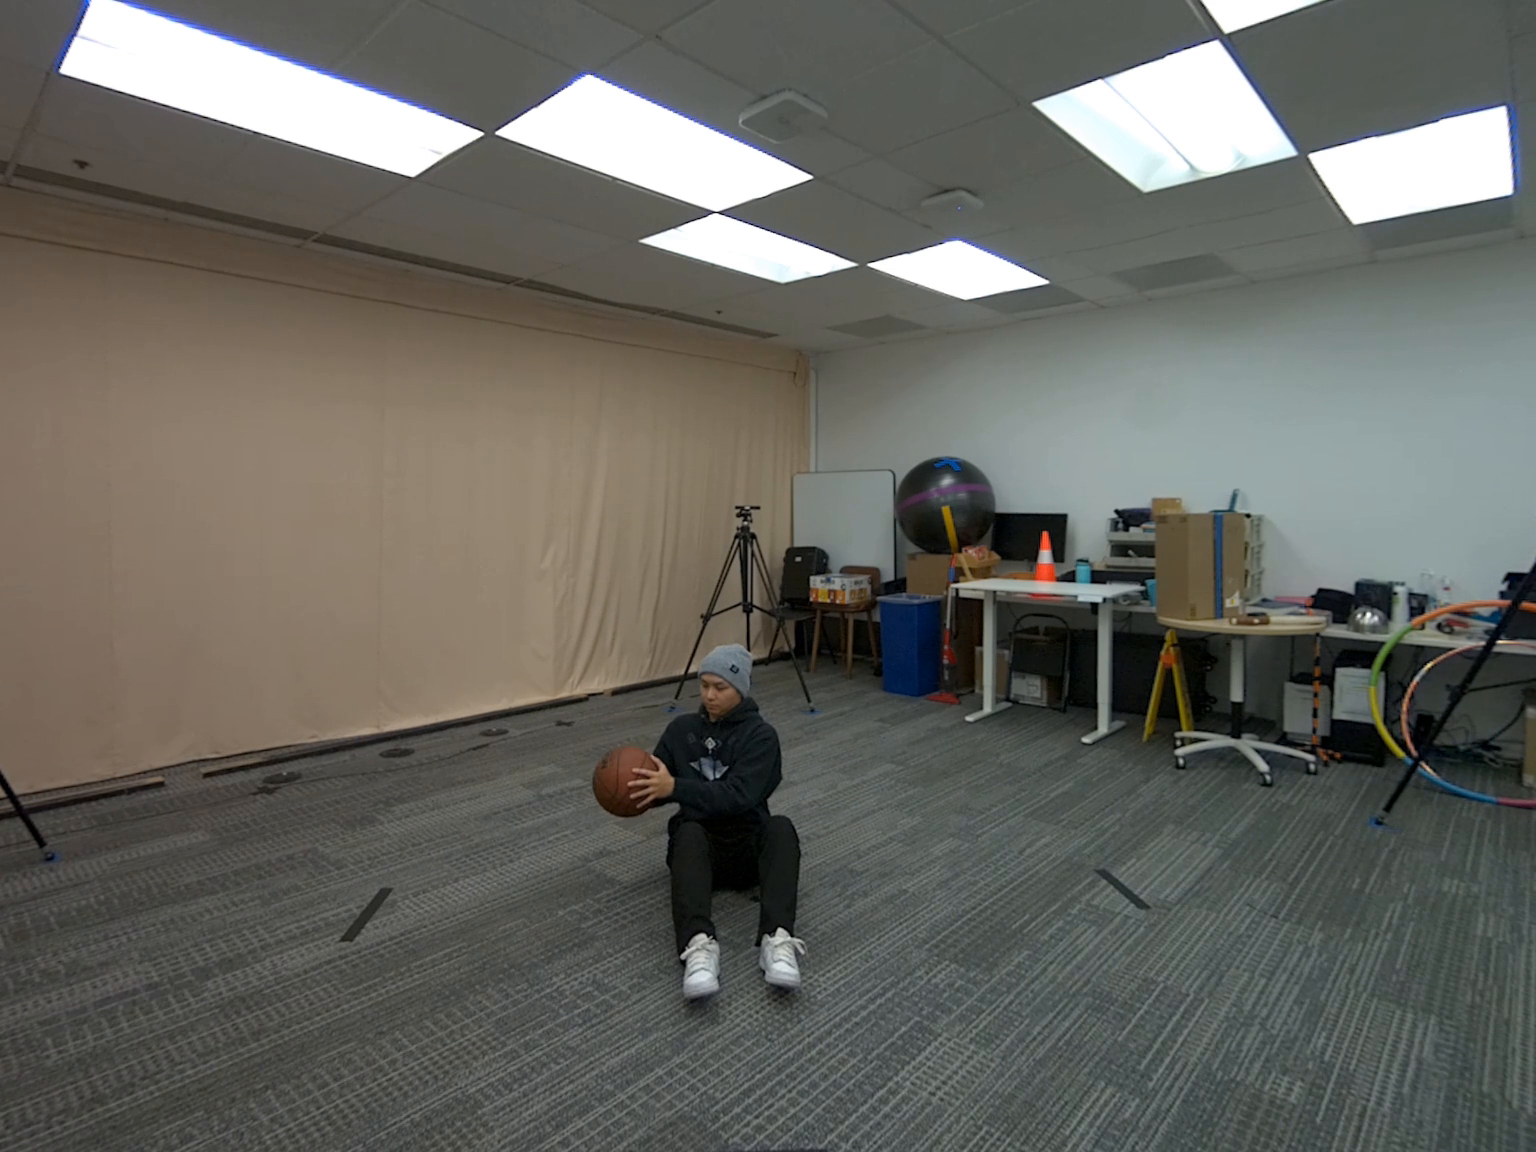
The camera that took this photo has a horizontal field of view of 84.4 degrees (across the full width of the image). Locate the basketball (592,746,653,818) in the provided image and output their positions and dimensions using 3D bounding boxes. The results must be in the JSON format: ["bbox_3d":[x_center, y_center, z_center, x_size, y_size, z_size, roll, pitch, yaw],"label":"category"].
[{"bbox_3d":[-0.476,0.707,2.898,0.236,0.235,0.237,0,4,-2],"label":"basketball"}]
